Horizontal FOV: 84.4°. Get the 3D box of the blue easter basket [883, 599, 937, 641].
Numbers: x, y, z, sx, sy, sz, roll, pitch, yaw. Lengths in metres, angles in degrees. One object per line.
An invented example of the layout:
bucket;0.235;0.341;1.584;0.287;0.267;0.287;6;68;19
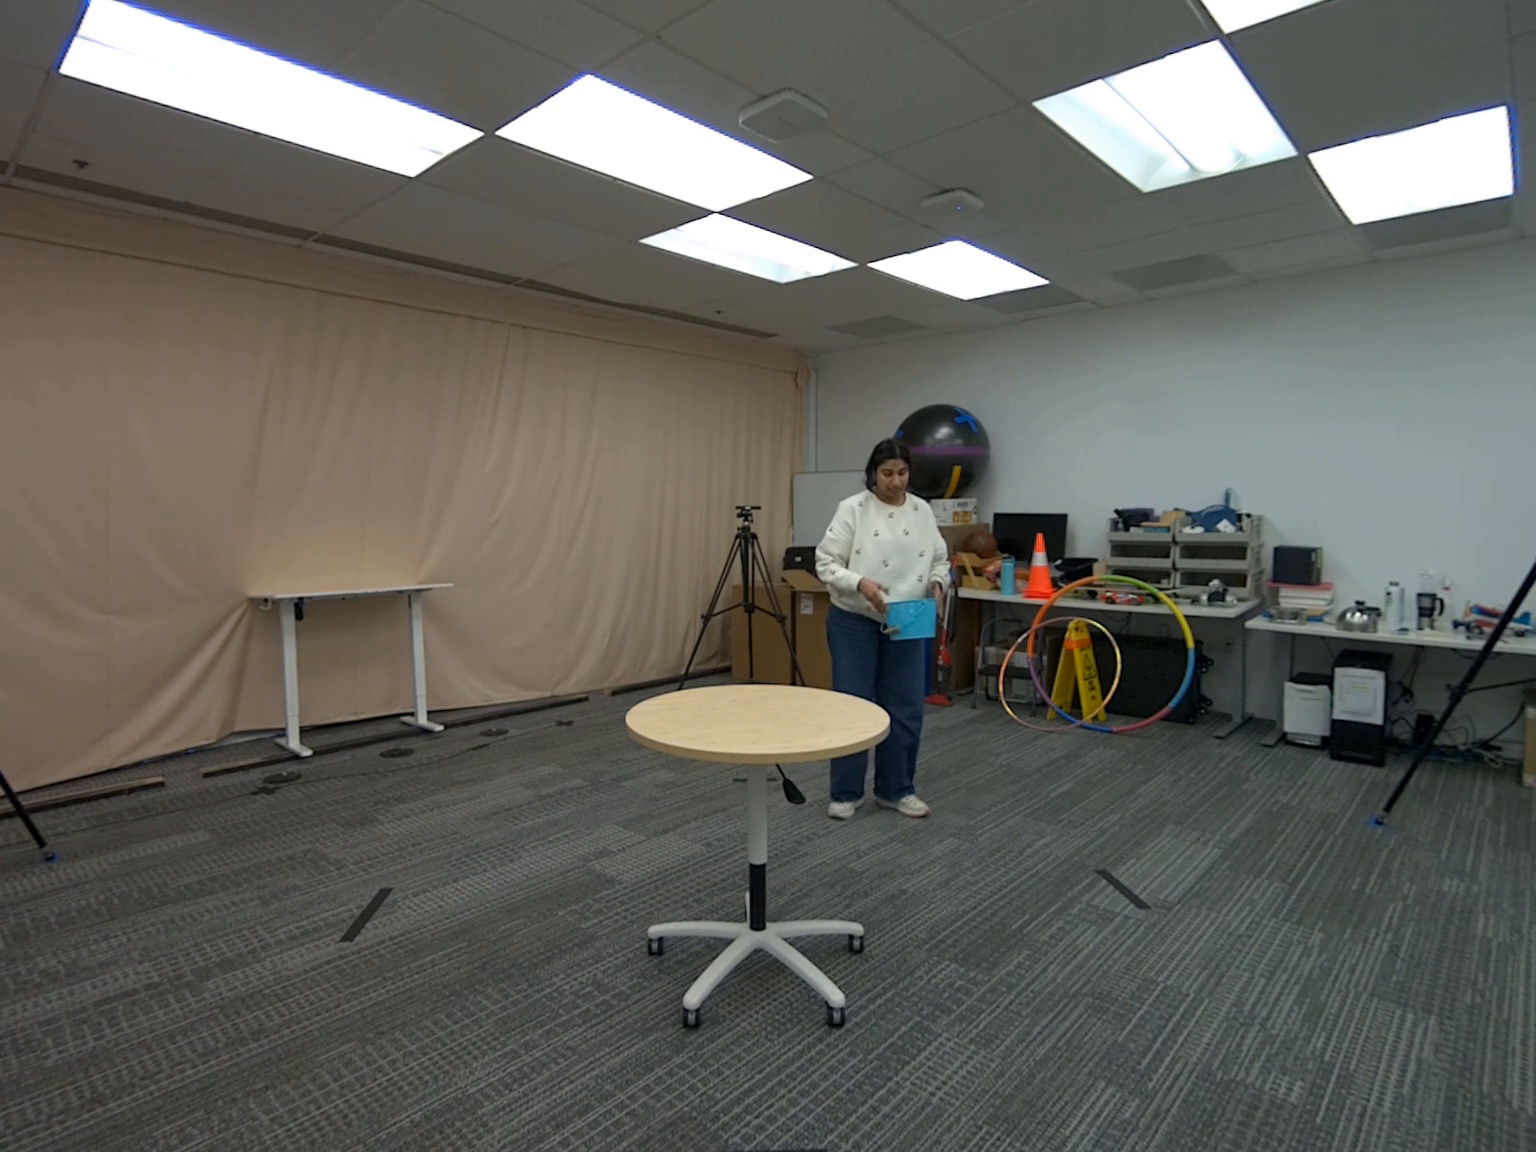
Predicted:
blue easter basket;0.591;0.190;3.485;0.243;0.156;0.243;-3;-6;-2
